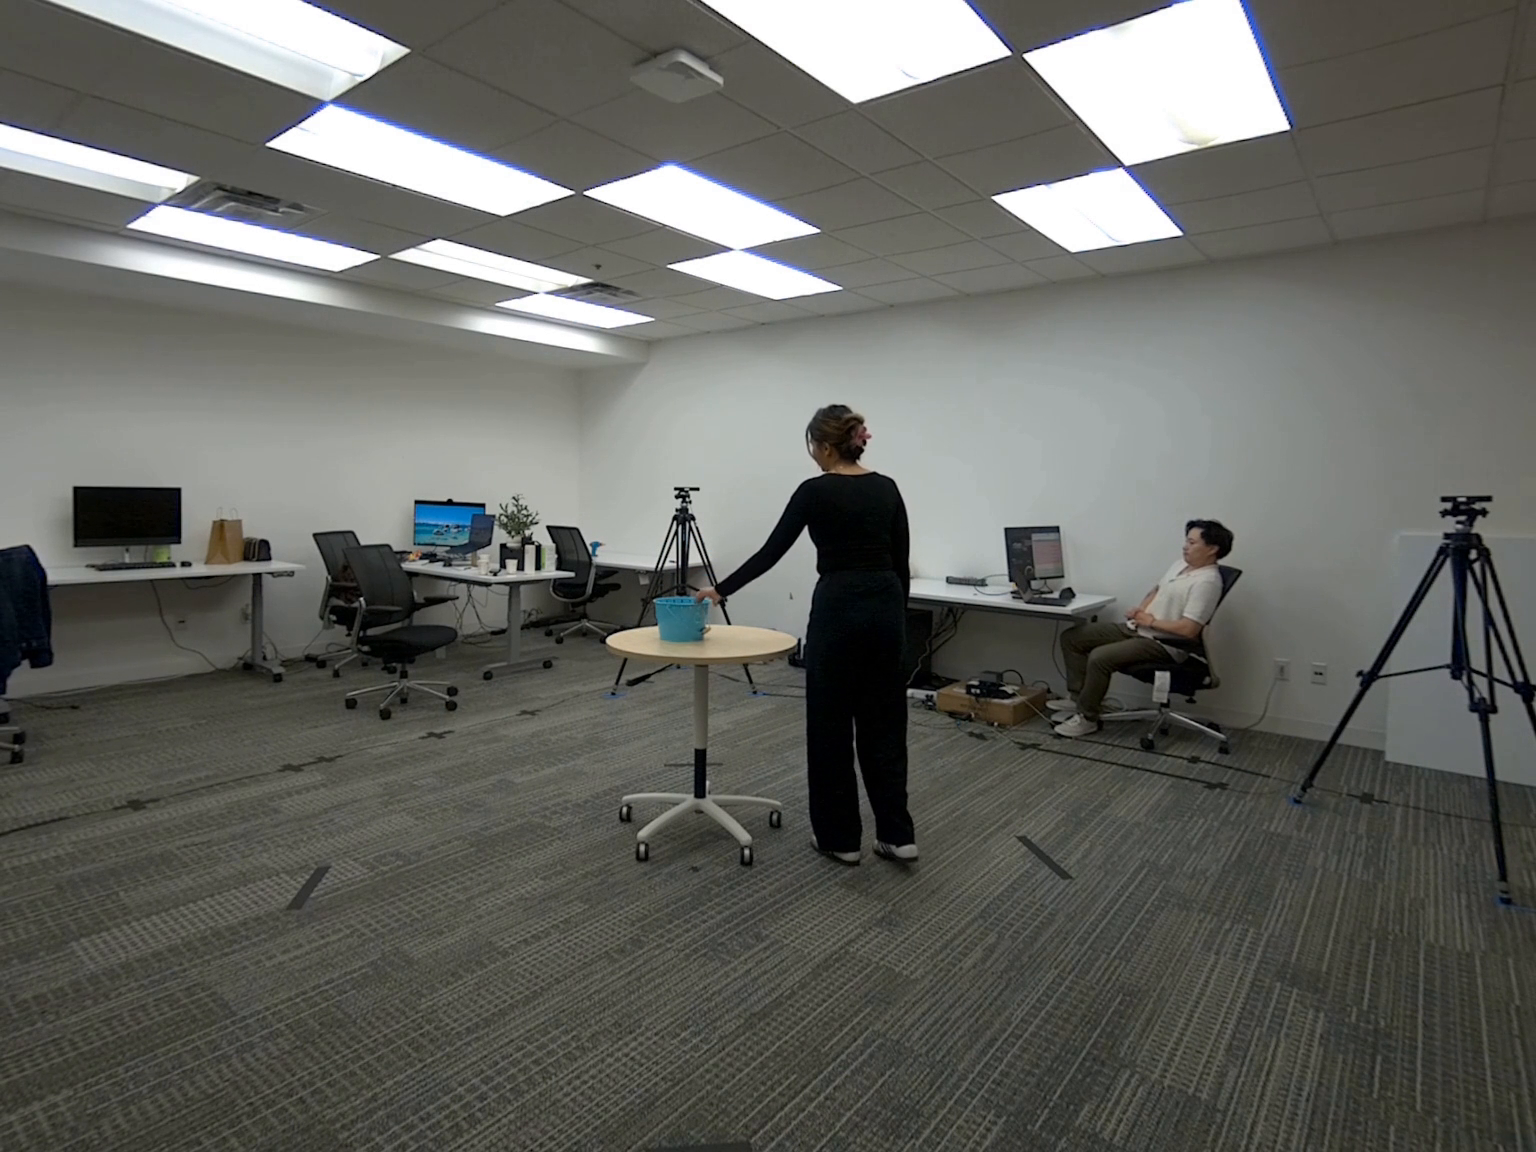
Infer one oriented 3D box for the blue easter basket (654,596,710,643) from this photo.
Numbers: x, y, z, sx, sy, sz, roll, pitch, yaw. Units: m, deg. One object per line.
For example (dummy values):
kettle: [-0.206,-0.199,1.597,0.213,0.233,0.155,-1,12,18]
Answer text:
blue easter basket: [-0.354,0.178,3.441,0.243,0.155,0.244,1,4,-2]
